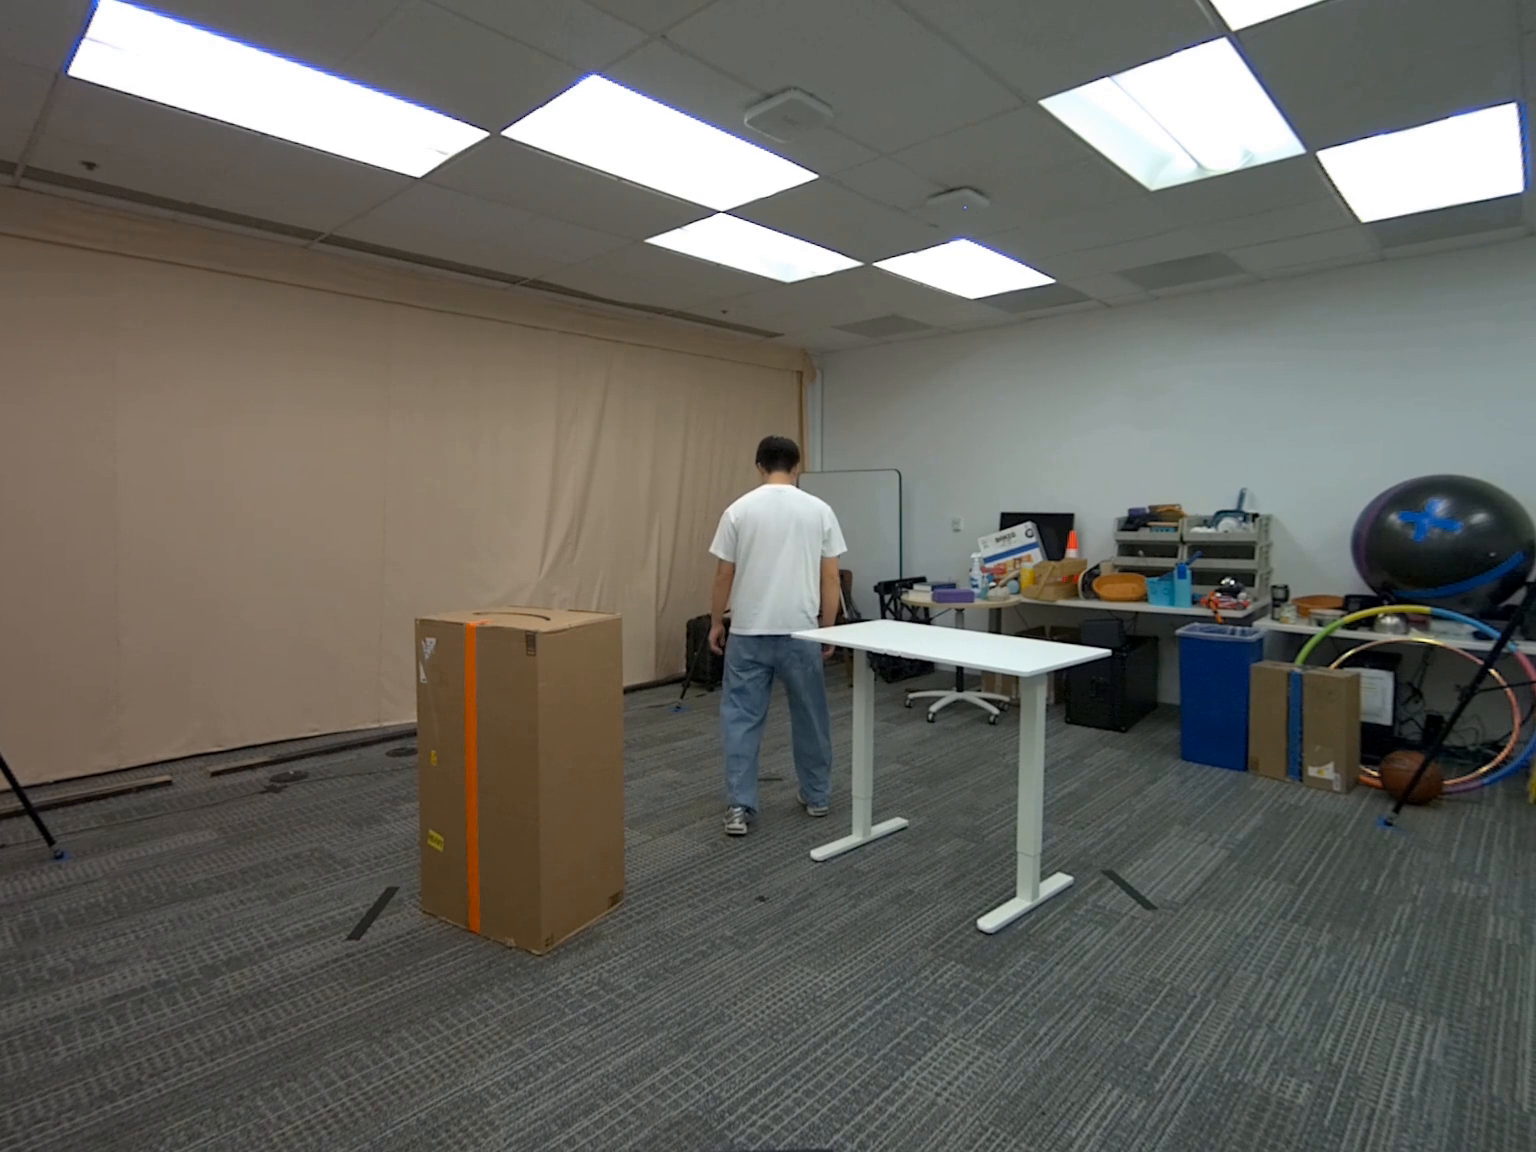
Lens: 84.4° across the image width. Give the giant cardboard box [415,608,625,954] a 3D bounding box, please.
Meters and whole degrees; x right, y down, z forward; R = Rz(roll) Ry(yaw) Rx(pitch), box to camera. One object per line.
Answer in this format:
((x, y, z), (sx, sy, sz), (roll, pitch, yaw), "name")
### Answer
((-0.851, 0.647, 2.911), (0.595, 1.024, 0.414), (2, 3, 32), "giant cardboard box")
